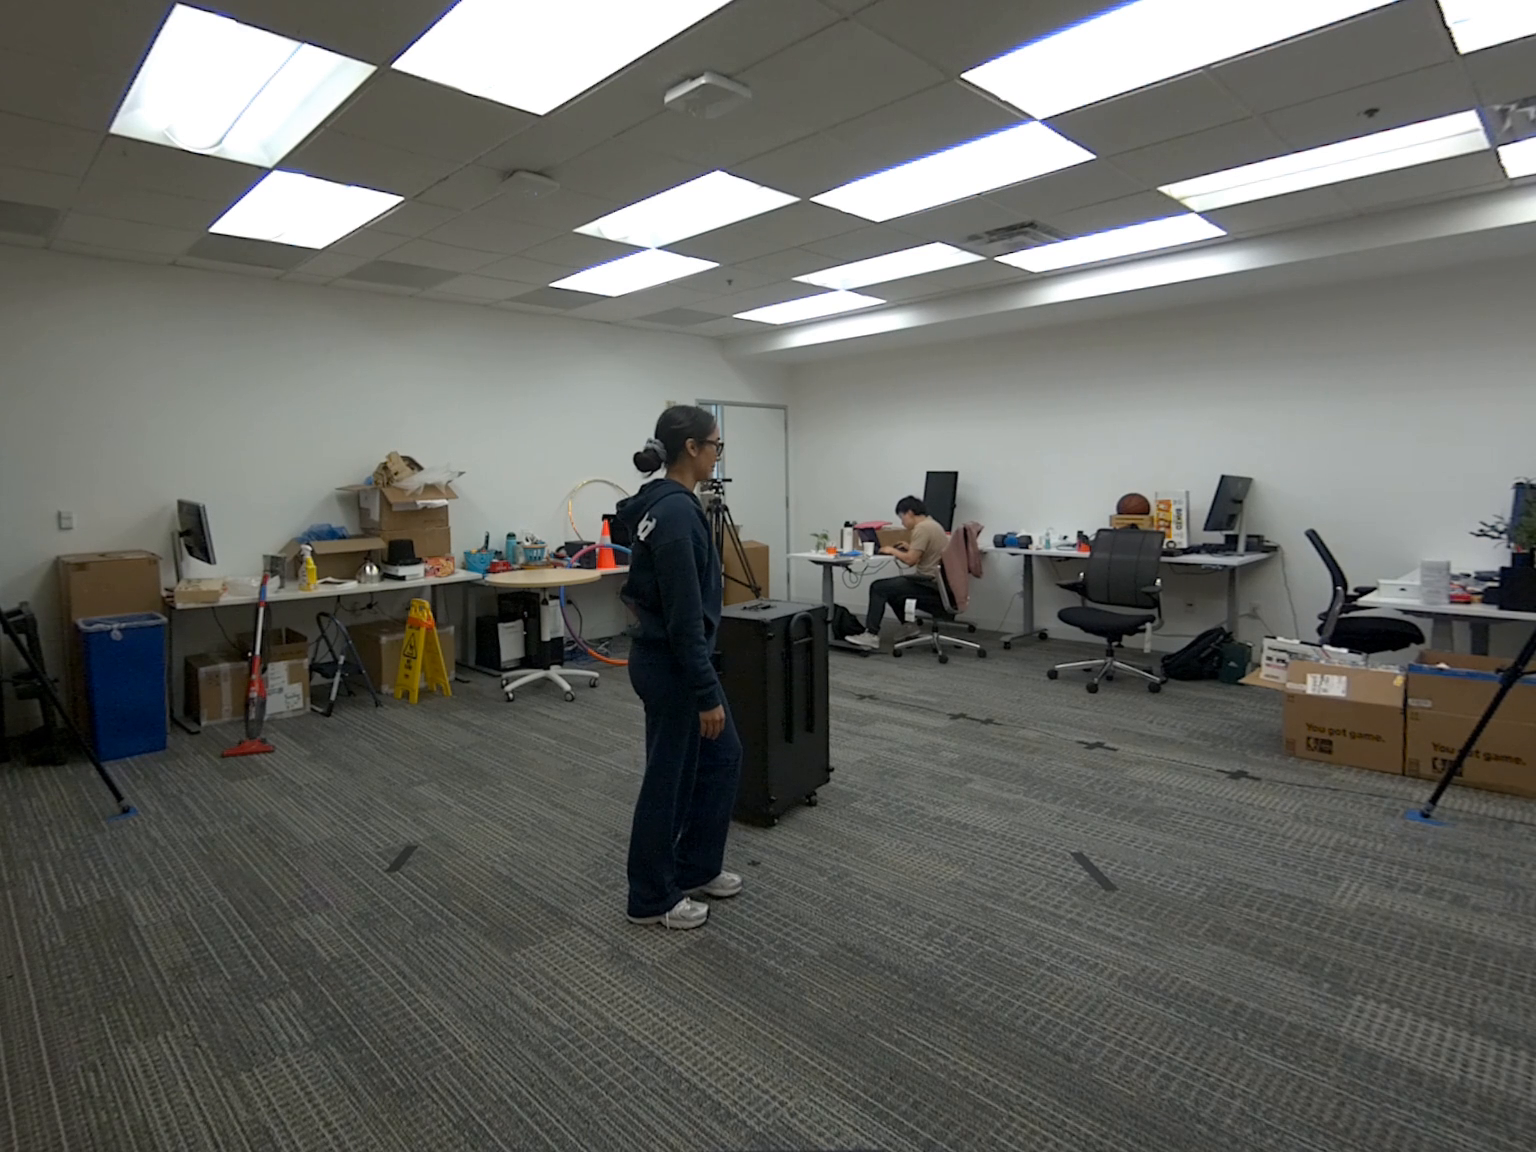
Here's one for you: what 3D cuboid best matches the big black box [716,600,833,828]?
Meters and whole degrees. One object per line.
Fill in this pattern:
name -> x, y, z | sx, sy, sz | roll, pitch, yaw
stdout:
big black box -> 0.004, 0.562, 3.620 | 0.408, 0.858, 0.508 | 4, 6, 35
